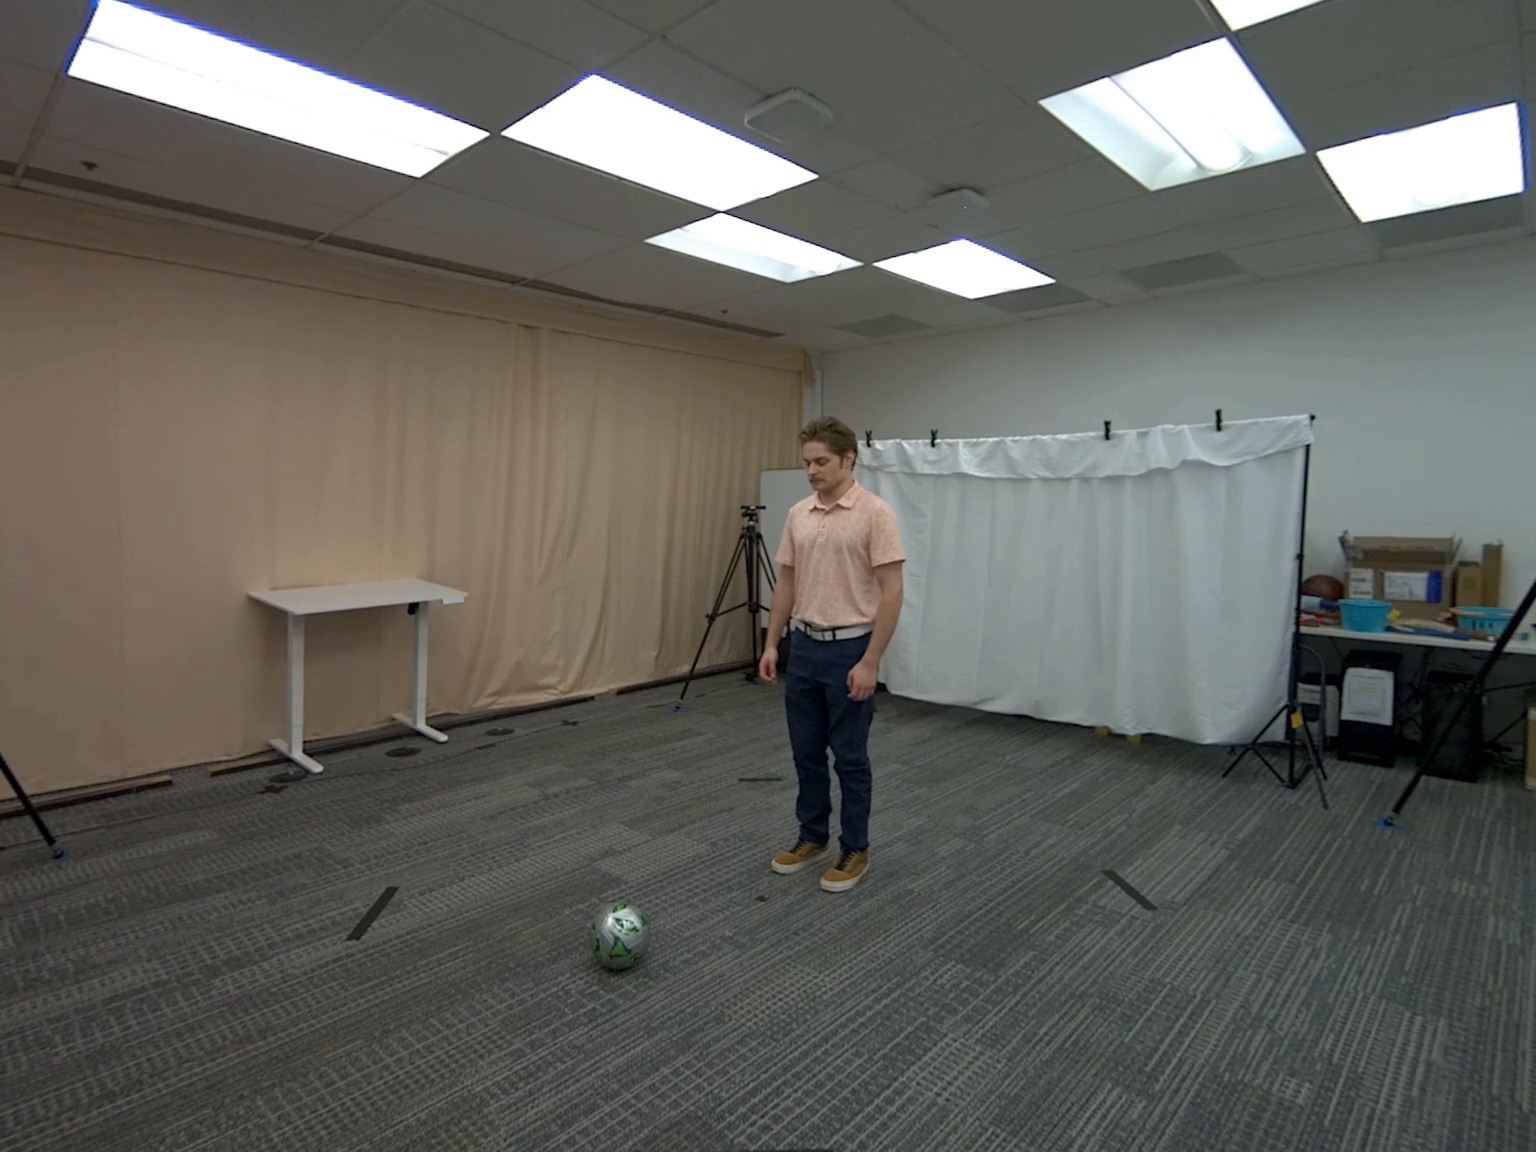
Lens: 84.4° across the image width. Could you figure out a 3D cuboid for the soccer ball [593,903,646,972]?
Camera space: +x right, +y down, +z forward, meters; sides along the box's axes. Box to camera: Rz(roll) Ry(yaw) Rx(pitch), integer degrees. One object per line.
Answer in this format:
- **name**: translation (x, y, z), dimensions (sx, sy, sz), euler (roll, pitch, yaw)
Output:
- **soccer ball**: translation (-0.446, 1.090, 2.551), dimensions (0.187, 0.187, 0.188), euler (0, 4, -2)
